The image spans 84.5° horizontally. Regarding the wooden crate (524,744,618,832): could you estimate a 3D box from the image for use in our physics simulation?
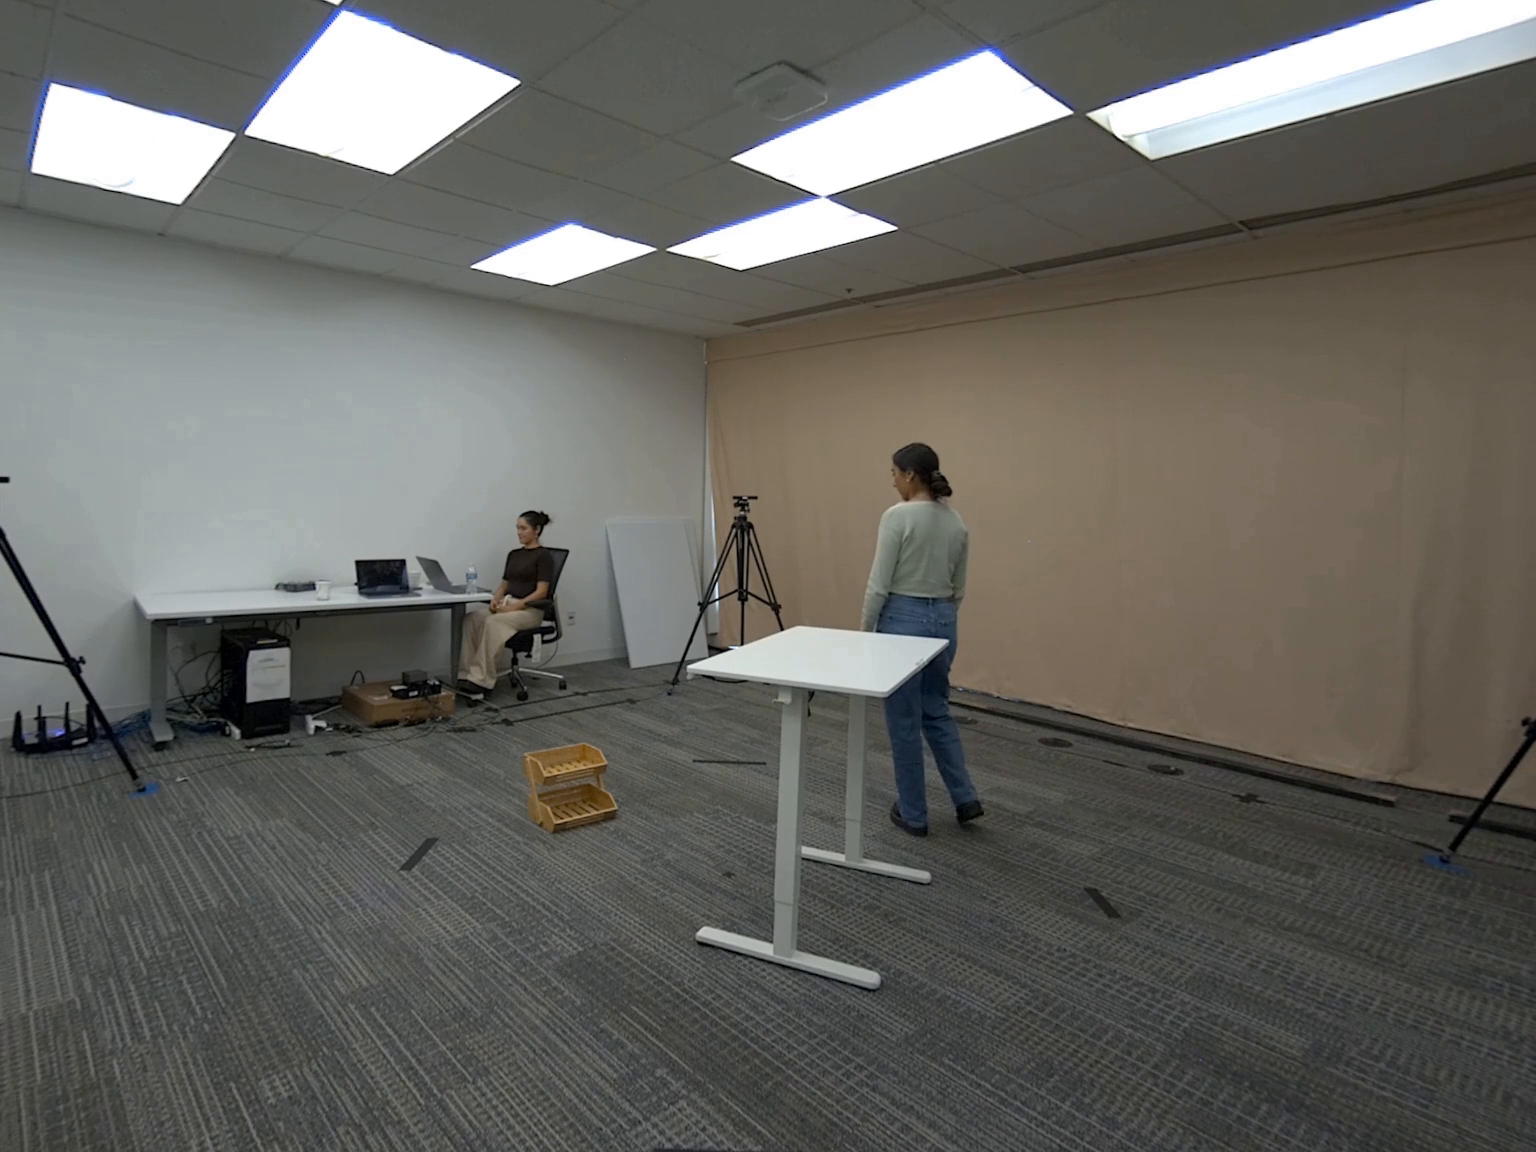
[{"bbox_3d":[-0.862,0.904,3.636,0.317,0.273,0.309,-2,5,-40],"label":"wooden crate"}]
